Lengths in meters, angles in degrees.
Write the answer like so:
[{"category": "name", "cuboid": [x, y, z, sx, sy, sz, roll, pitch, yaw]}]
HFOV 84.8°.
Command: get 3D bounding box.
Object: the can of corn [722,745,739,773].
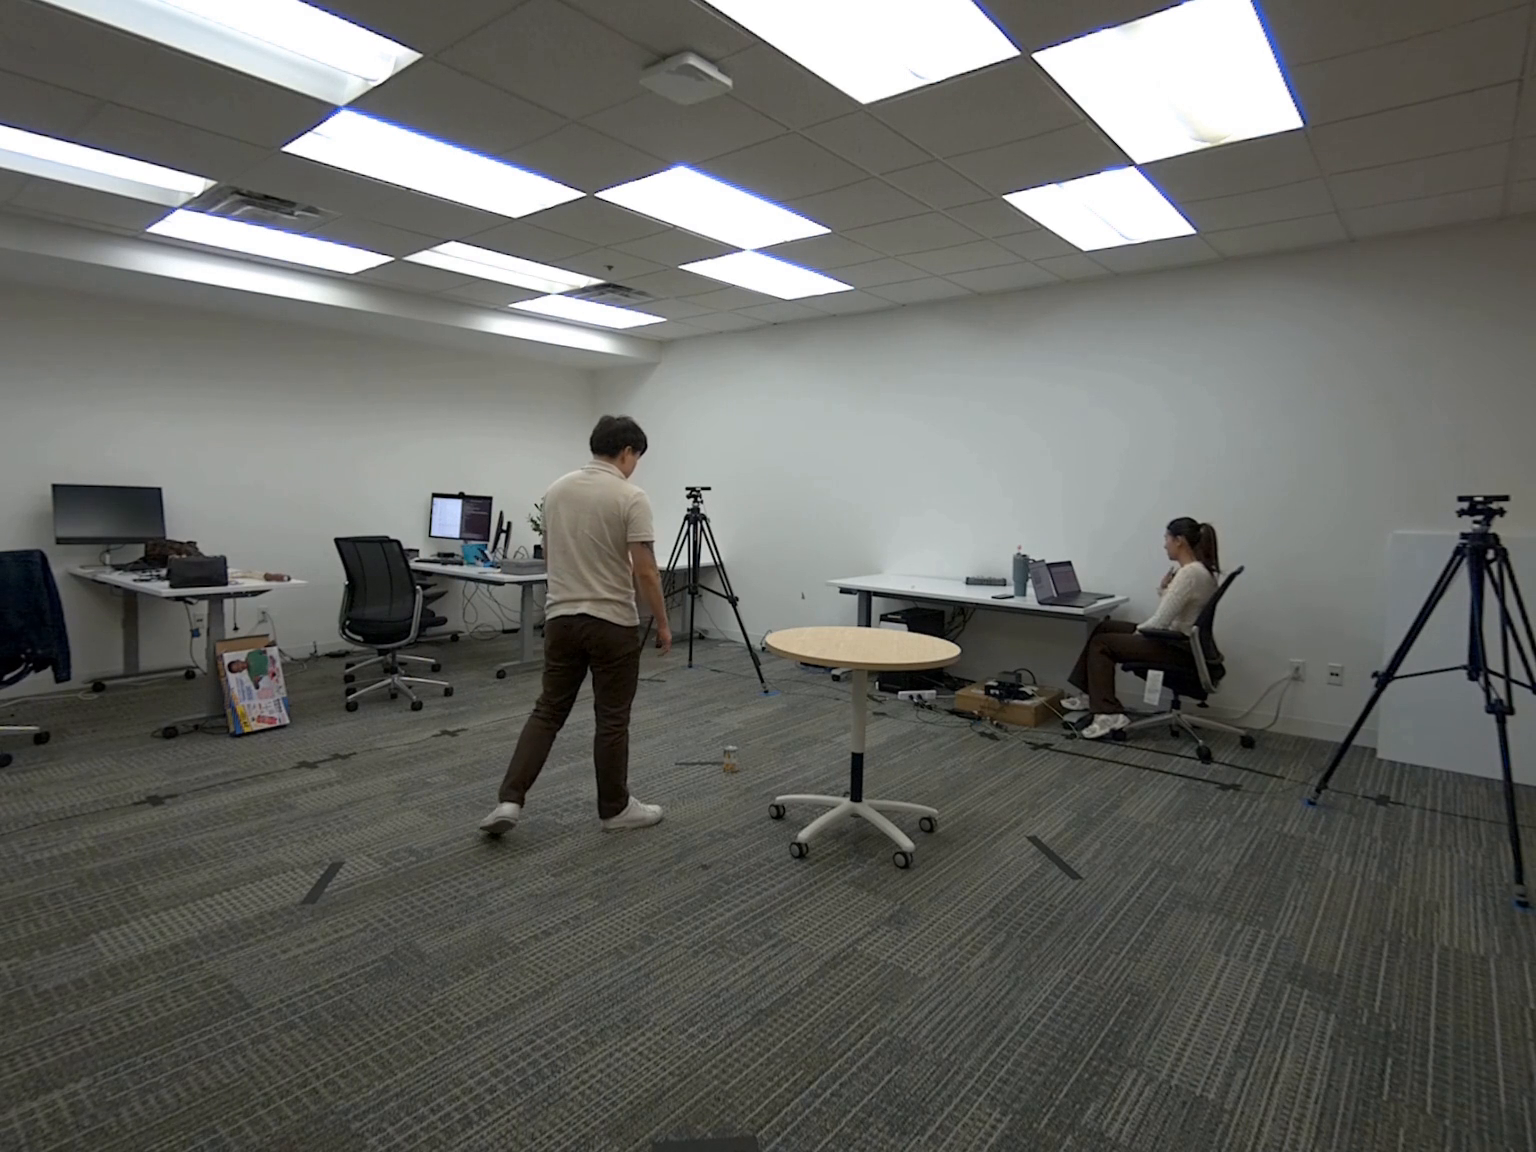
[{"category": "can of corn", "cuboid": [-0.193, 0.902, 4.205, 0.074, 0.111, 0.074, 0, 2, -2]}]
